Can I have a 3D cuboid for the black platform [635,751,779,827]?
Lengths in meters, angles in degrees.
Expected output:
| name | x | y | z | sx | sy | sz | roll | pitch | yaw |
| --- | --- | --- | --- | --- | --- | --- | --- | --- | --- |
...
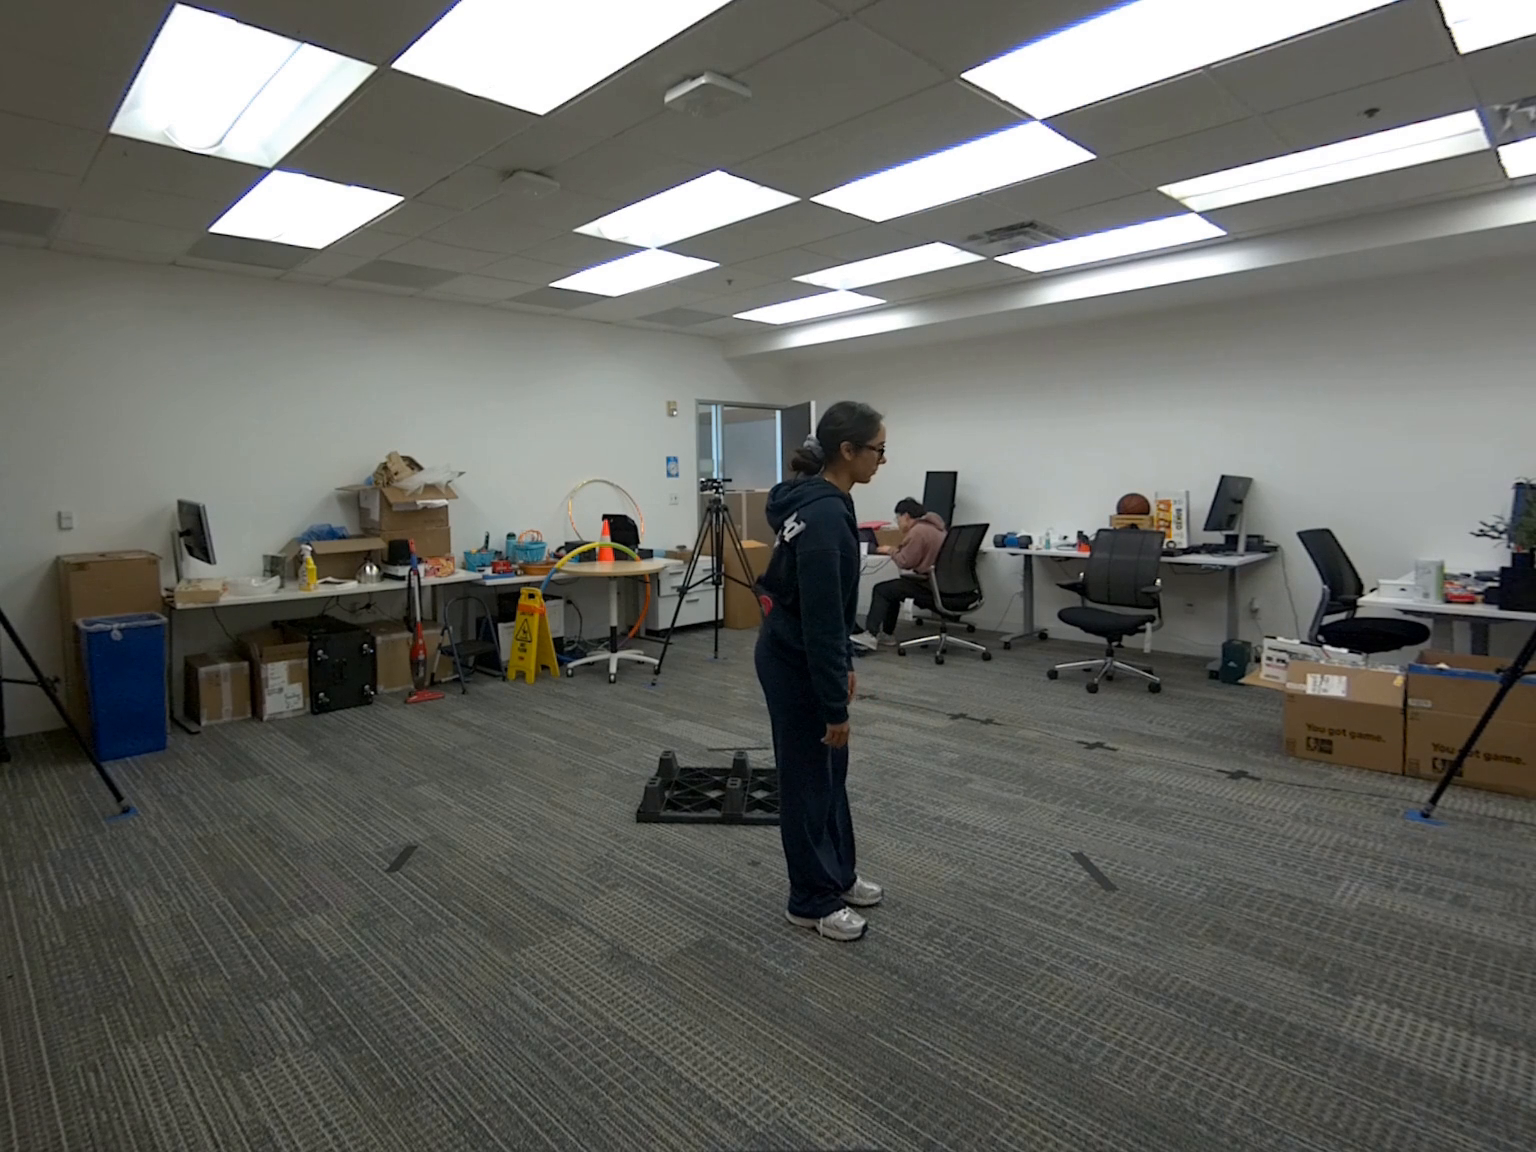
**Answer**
| name | x | y | z | sx | sy | sz | roll | pitch | yaw |
| --- | --- | --- | --- | --- | --- | --- | --- | --- | --- |
| black platform | -0.127 | 0.908 | 3.752 | 0.809 | 0.143 | 0.605 | -1 | 6 | 4 |
